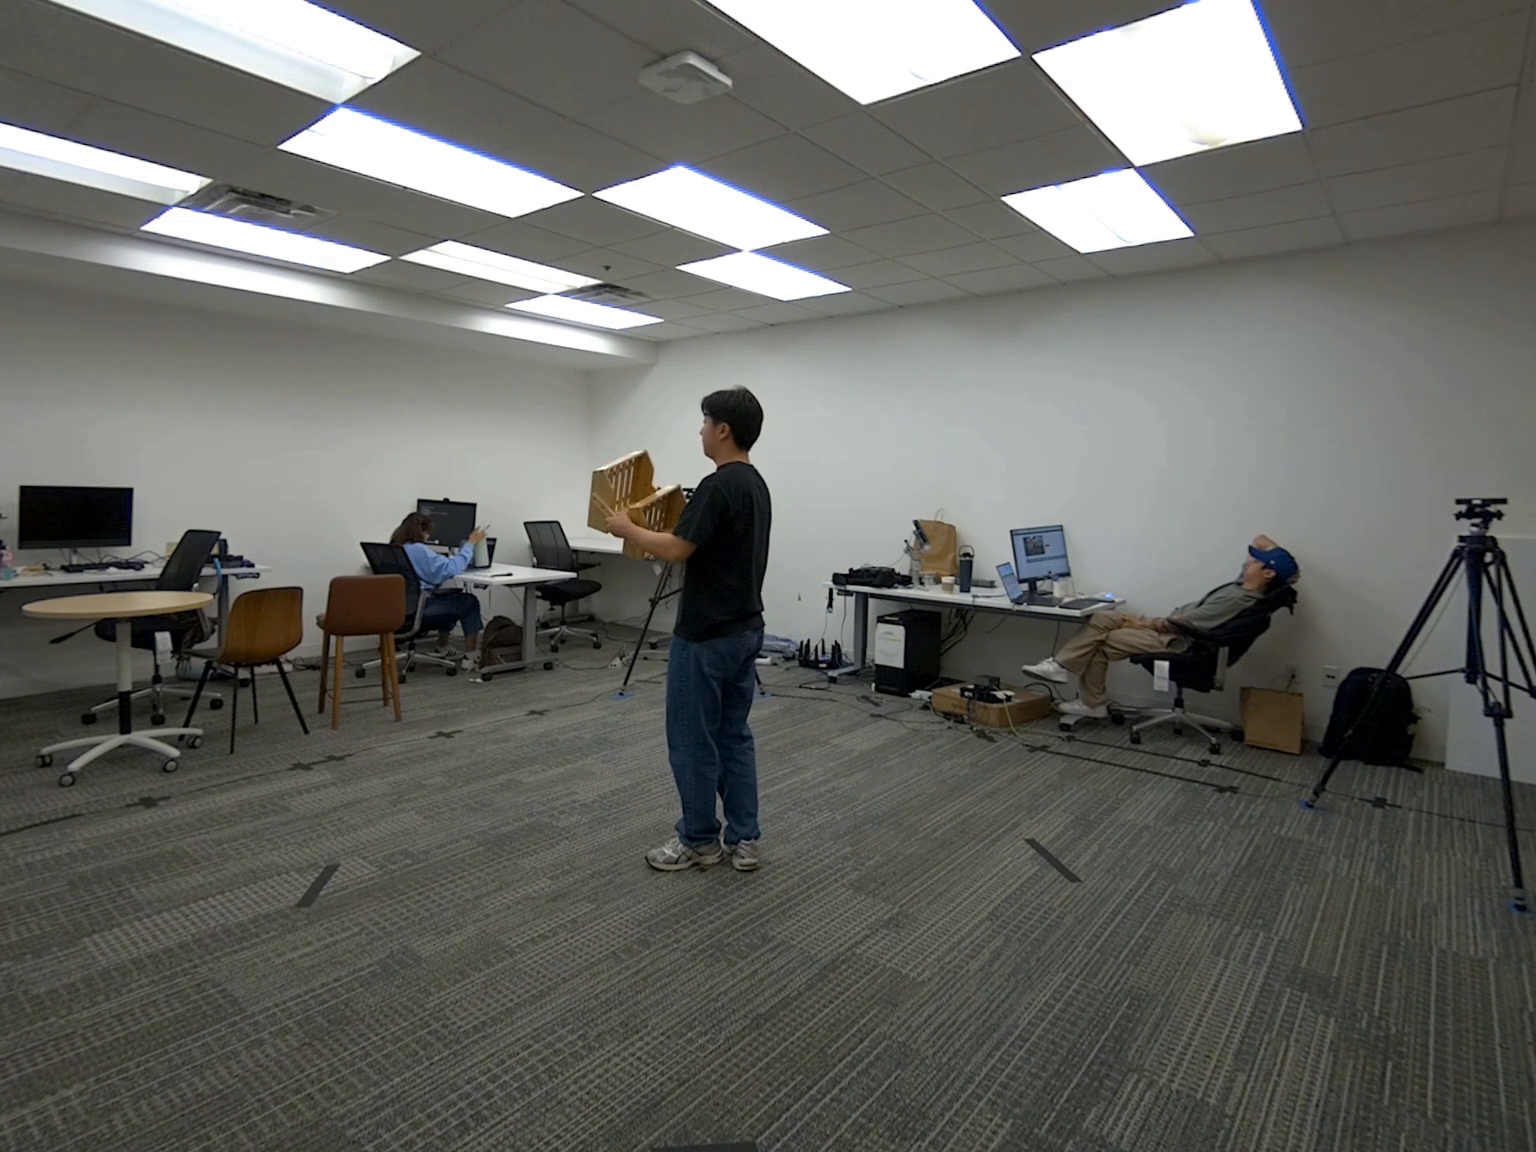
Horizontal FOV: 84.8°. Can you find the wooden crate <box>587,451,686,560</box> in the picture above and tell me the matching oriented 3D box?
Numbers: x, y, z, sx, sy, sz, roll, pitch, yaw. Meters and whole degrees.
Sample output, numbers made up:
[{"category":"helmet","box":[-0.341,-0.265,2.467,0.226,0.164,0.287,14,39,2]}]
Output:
[{"category":"wooden crate","box":[-0.504,-0.288,3.285,0.280,0.296,0.322,22,30,18]}]
